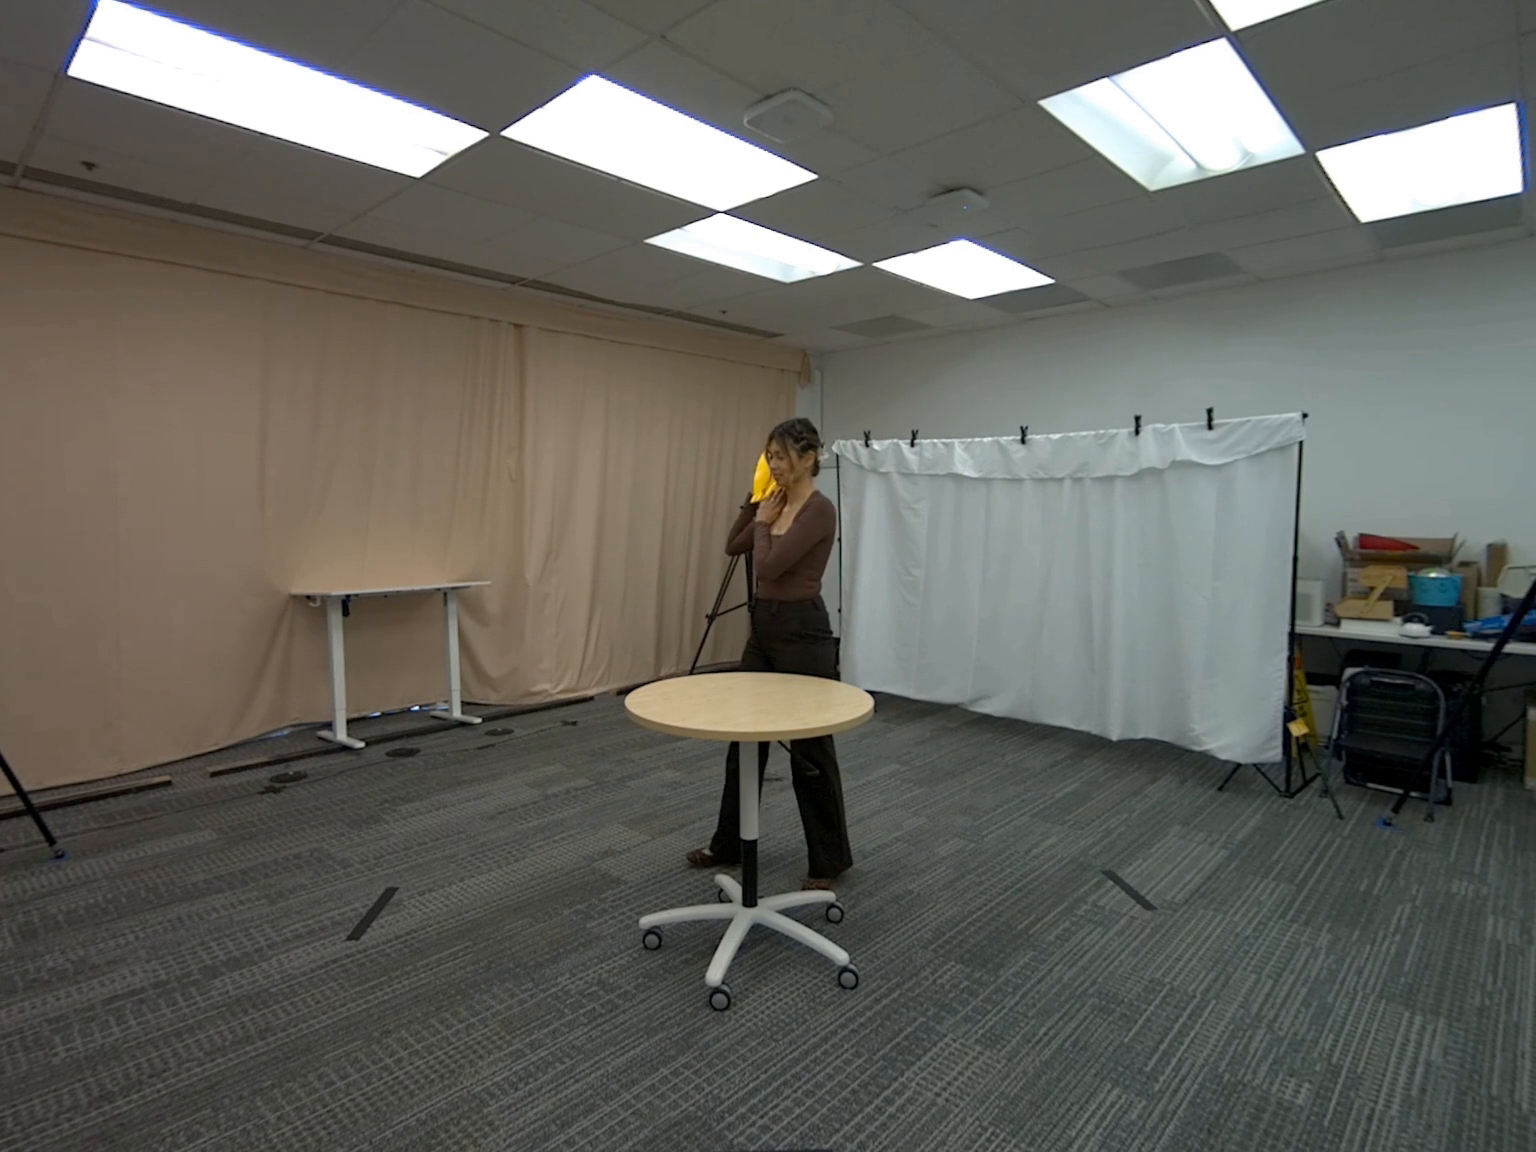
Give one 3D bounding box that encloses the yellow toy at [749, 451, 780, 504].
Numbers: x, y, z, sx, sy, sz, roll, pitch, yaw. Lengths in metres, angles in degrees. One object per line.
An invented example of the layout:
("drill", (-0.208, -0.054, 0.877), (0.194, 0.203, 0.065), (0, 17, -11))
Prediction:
("yellow toy", (0.016, -0.421, 3.256), (0.189, 0.231, 0.209), (-12, 1, -24))
